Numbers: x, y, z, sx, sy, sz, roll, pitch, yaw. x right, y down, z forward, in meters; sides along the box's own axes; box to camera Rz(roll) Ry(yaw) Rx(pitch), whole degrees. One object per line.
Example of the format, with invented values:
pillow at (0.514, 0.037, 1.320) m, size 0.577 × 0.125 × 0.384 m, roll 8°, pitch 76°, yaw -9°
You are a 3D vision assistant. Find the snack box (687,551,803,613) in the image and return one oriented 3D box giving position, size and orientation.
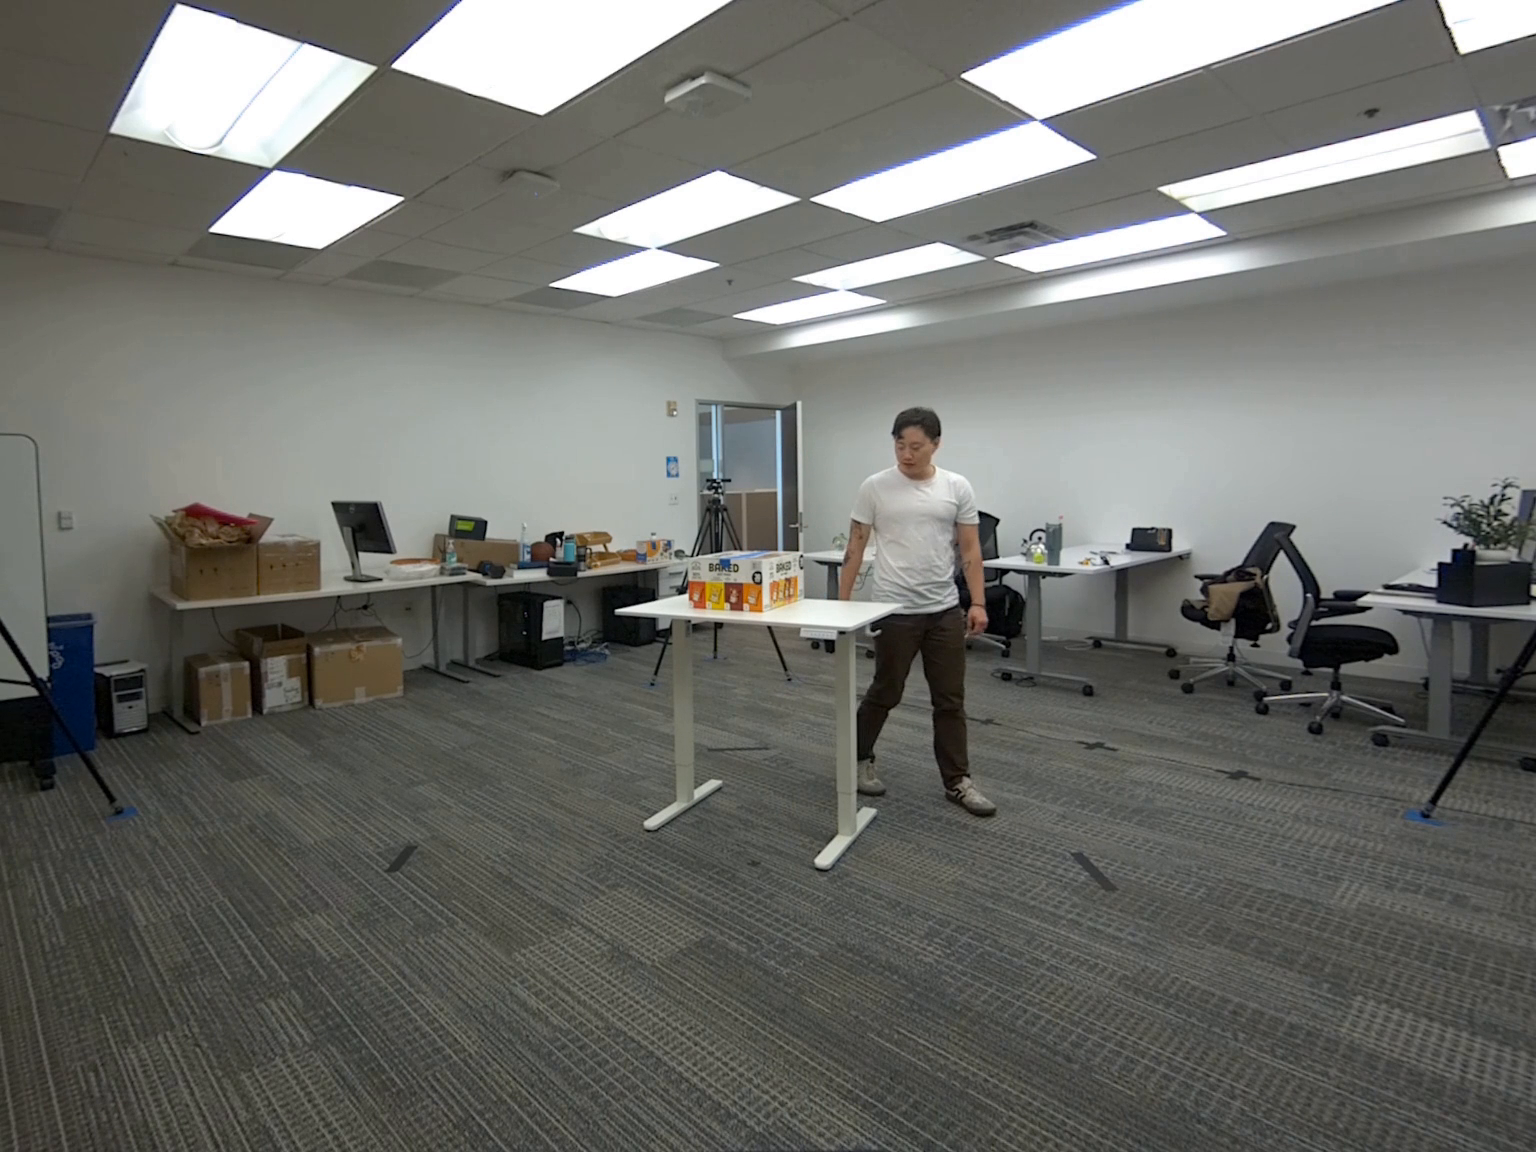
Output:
snack box at (-0.087, 0.015, 3.545) m, size 0.349 × 0.205 × 0.397 m, roll 2°, pitch 6°, yaw 27°
